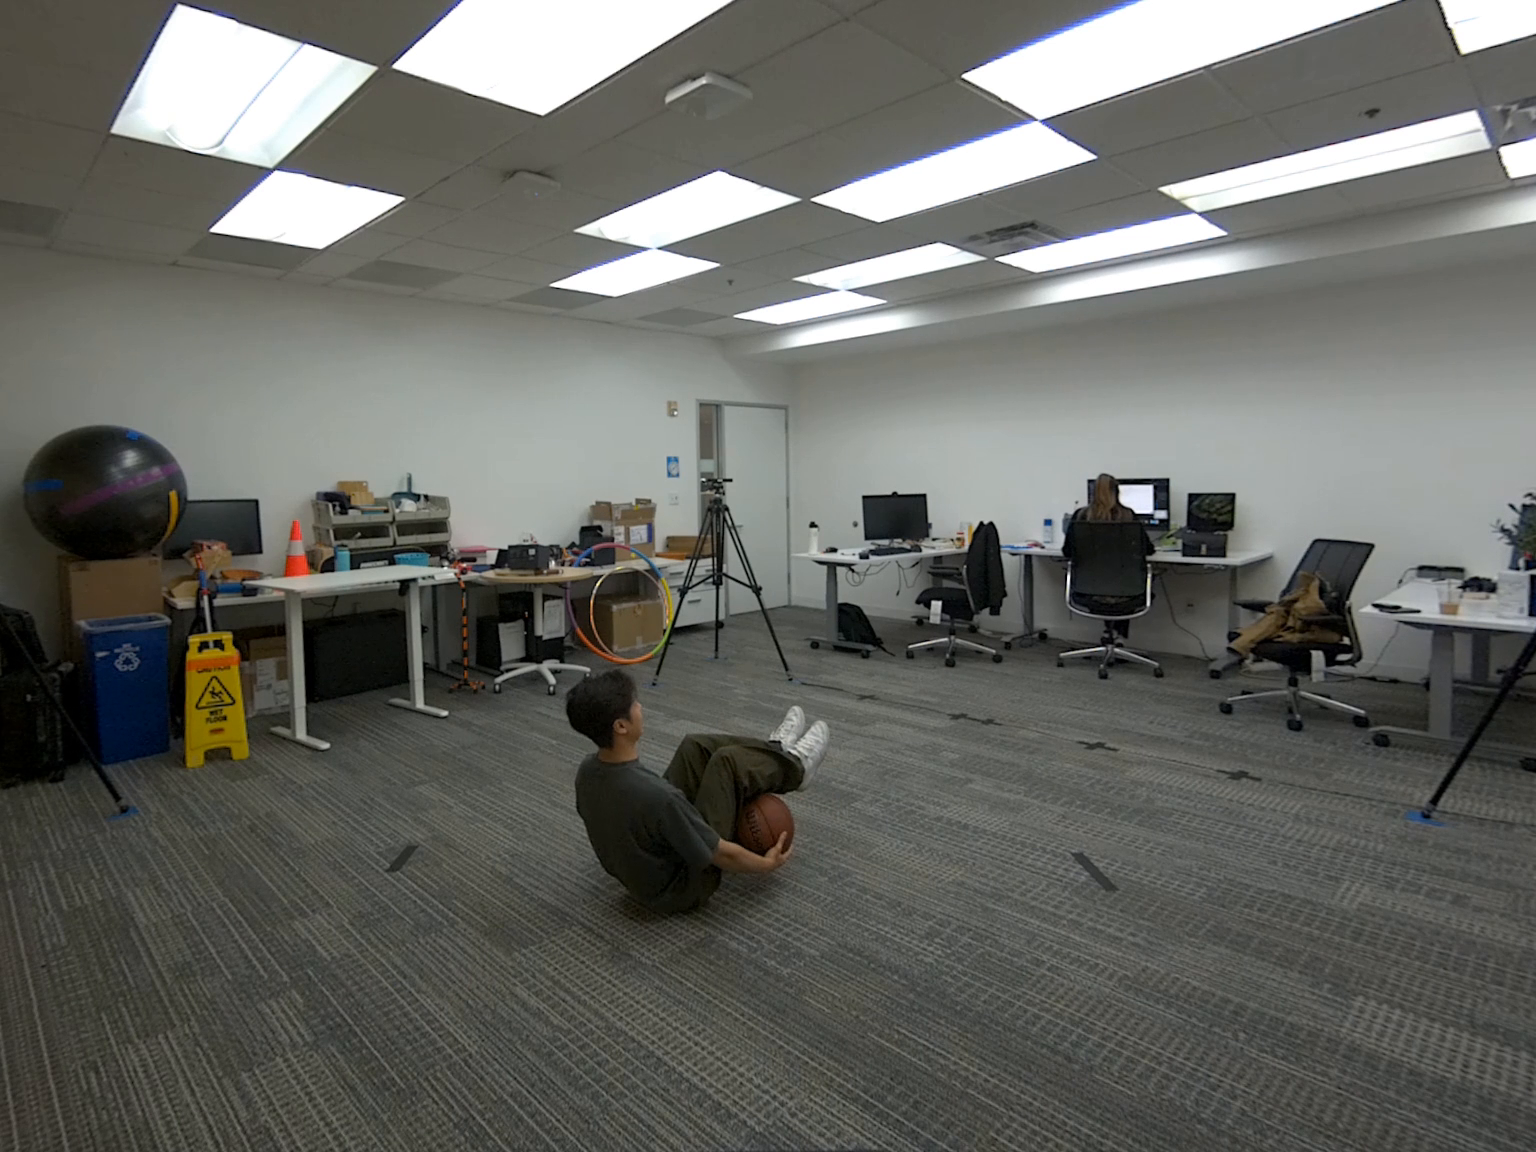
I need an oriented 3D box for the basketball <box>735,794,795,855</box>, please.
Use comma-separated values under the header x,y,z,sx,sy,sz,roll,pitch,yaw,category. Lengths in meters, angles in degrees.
x,y,z,sx,sy,sz,roll,pitch,yaw,category
-0.033,0.871,2.991,0.236,0.235,0.237,-1,5,-2,basketball
